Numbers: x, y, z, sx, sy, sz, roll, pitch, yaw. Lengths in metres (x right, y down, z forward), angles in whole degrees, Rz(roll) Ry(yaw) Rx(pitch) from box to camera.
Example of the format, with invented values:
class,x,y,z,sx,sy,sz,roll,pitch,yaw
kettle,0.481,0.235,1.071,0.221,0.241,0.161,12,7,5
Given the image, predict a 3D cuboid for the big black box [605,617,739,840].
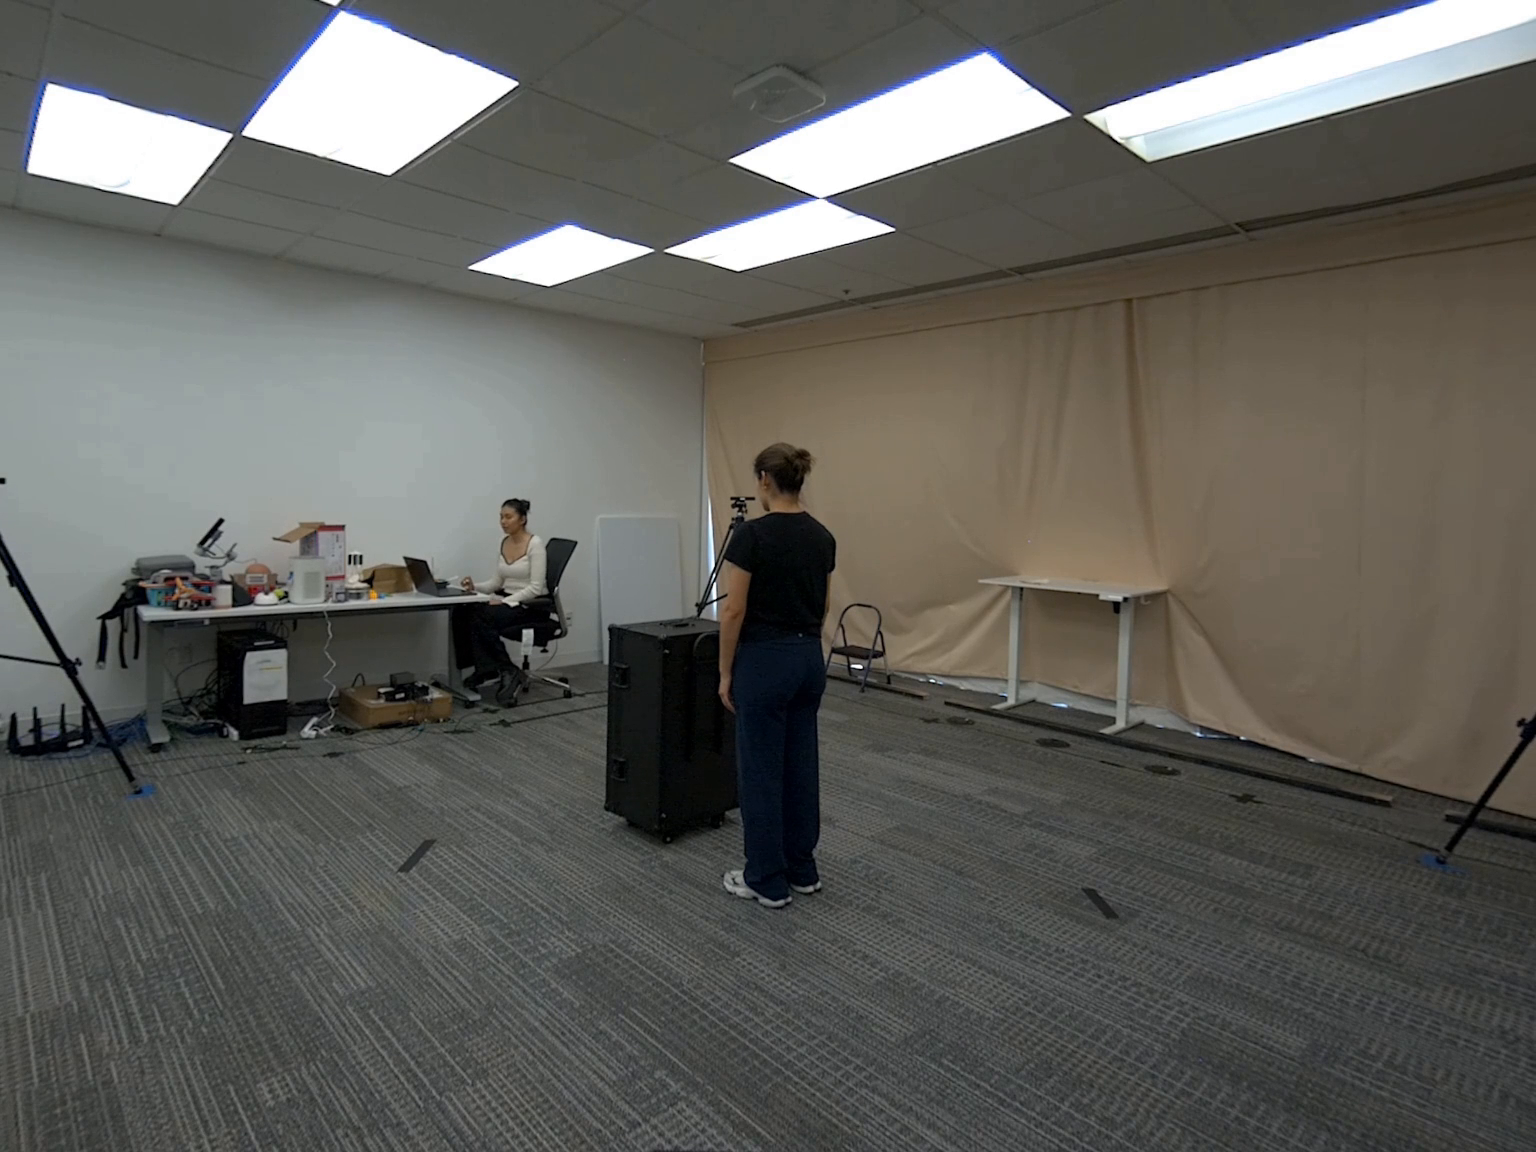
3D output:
class,x,y,z,sx,sy,sz,roll,pitch,yaw
big black box,-0.379,0.635,3.550,0.406,0.859,0.509,6,5,44
